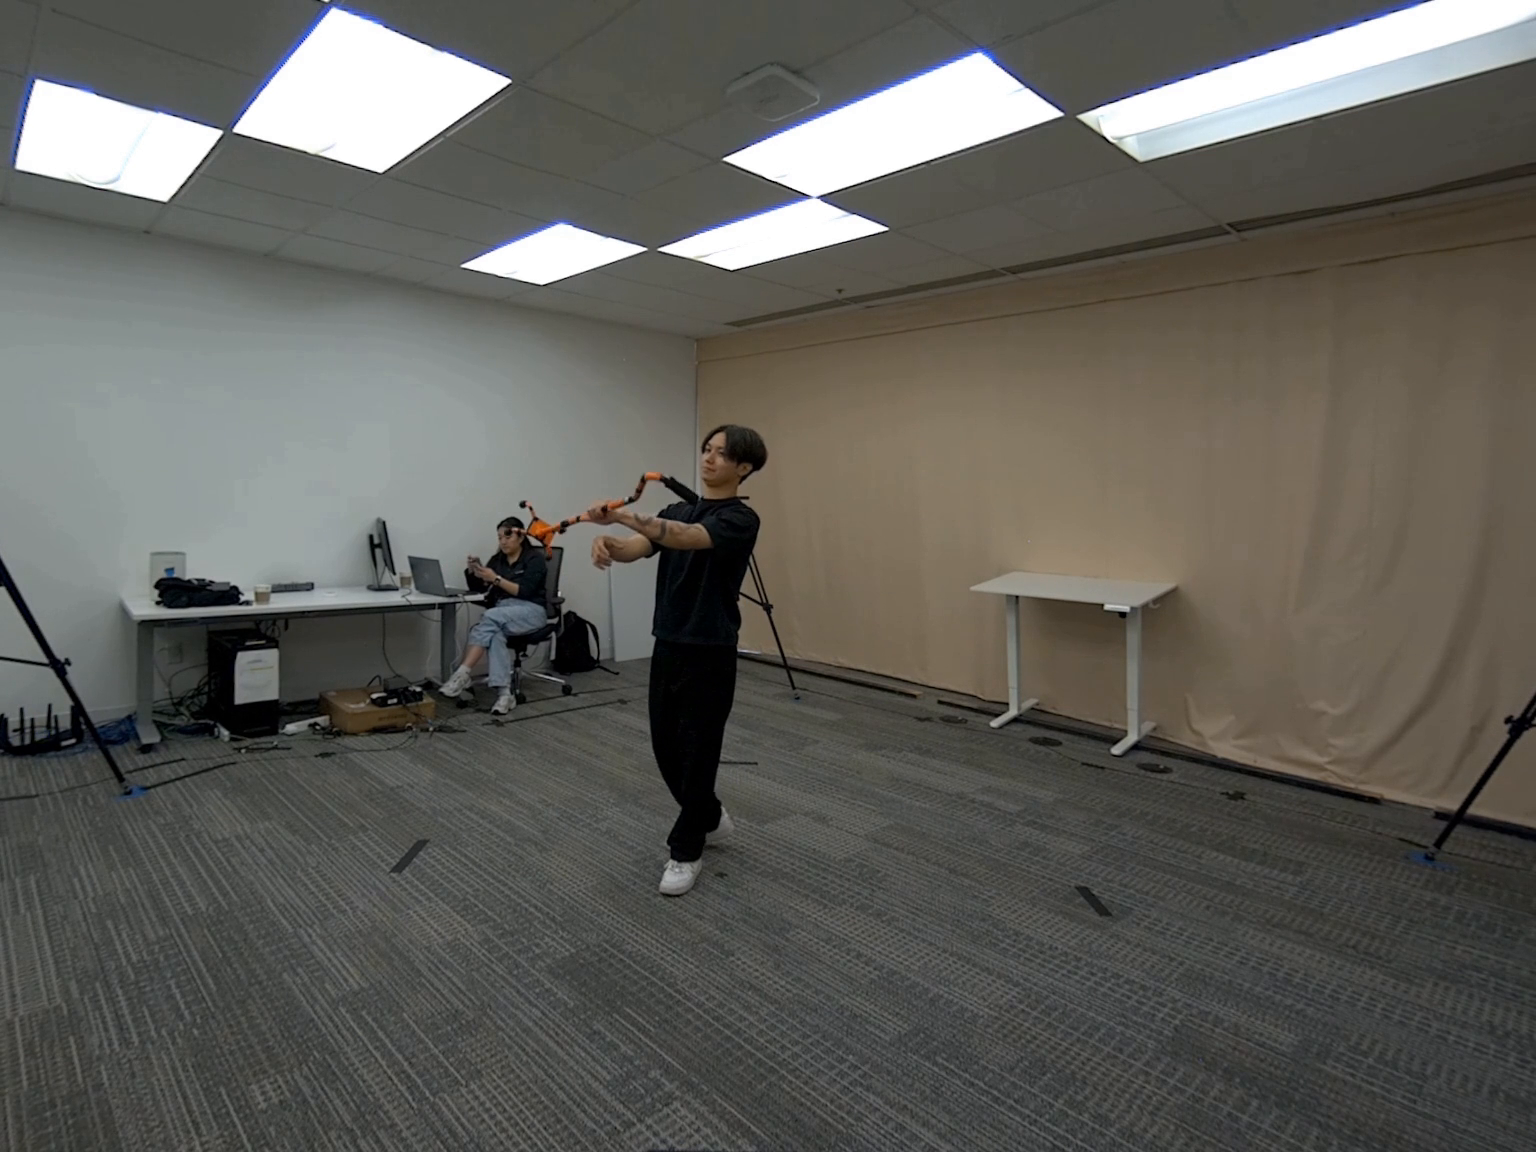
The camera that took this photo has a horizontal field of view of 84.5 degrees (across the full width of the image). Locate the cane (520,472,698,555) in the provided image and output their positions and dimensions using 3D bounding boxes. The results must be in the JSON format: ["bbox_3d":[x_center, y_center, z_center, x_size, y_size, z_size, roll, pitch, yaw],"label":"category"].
[{"bbox_3d":[-0.569,-0.218,2.757,0.201,0.153,0.925,39,-30,-30],"label":"cane"}]
